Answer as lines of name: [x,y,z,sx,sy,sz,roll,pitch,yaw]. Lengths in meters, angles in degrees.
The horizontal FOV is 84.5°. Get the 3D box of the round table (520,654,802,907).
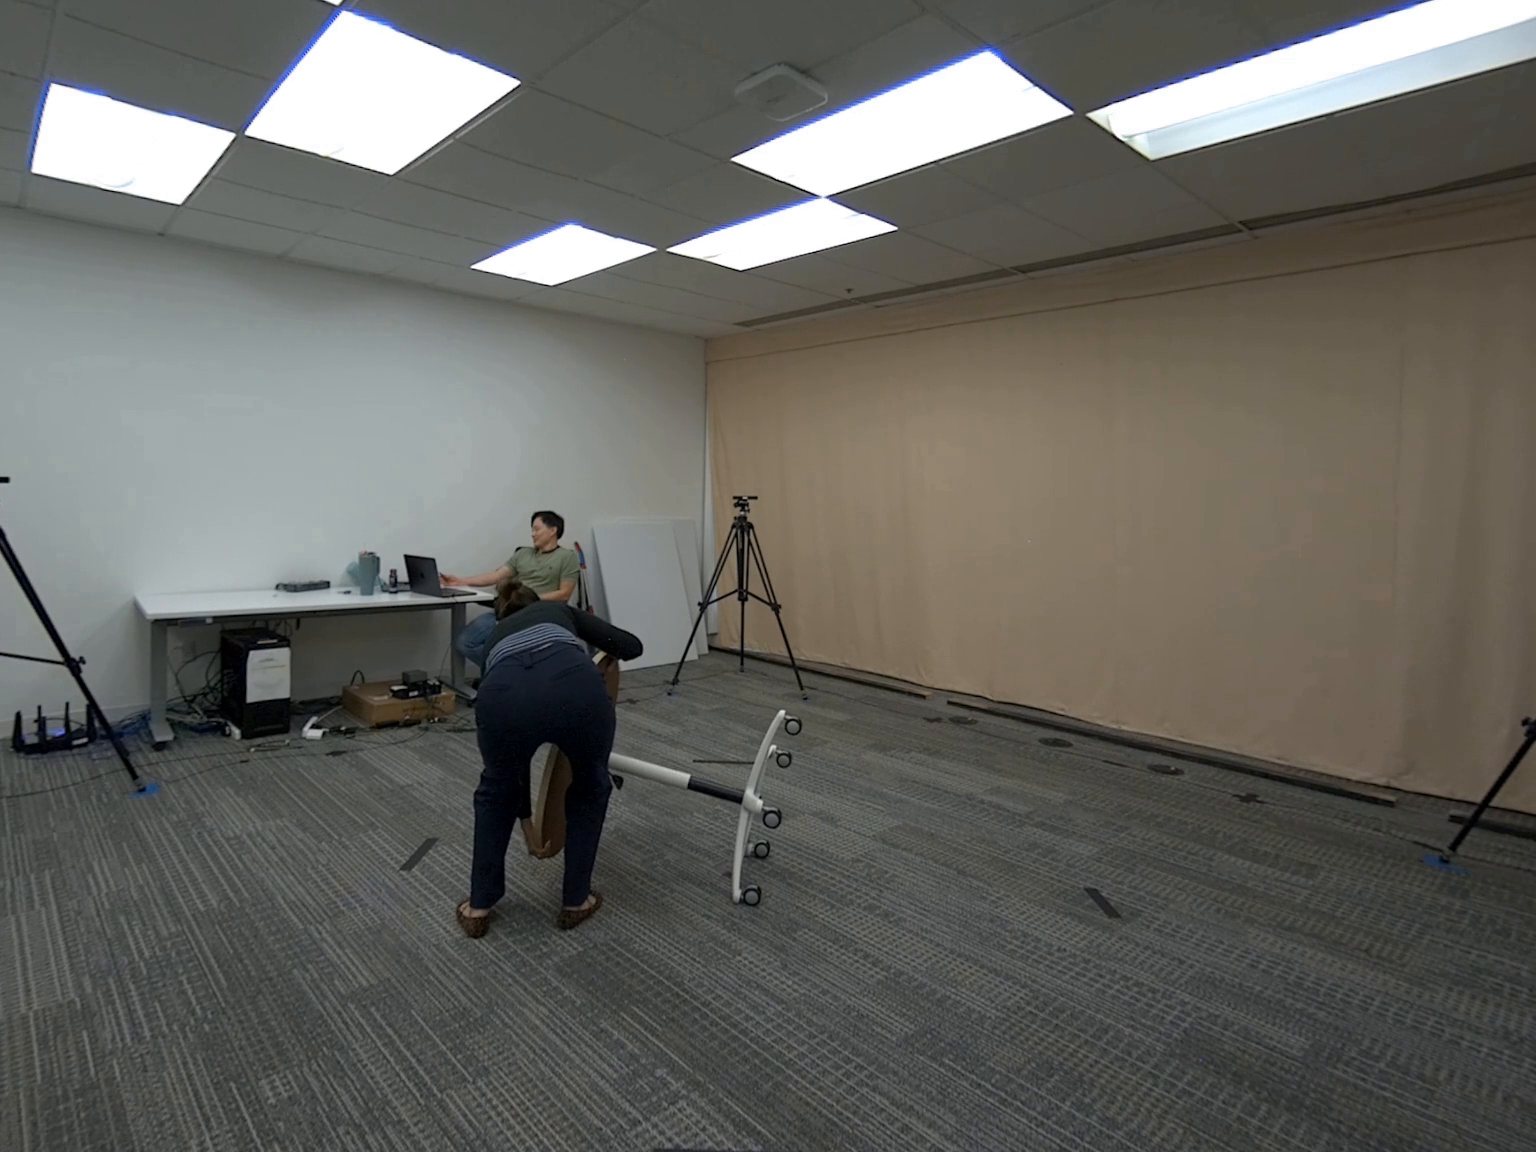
round table: [-0.340,0.754,3.100,0.799,0.762,0.761,14,6,6]
